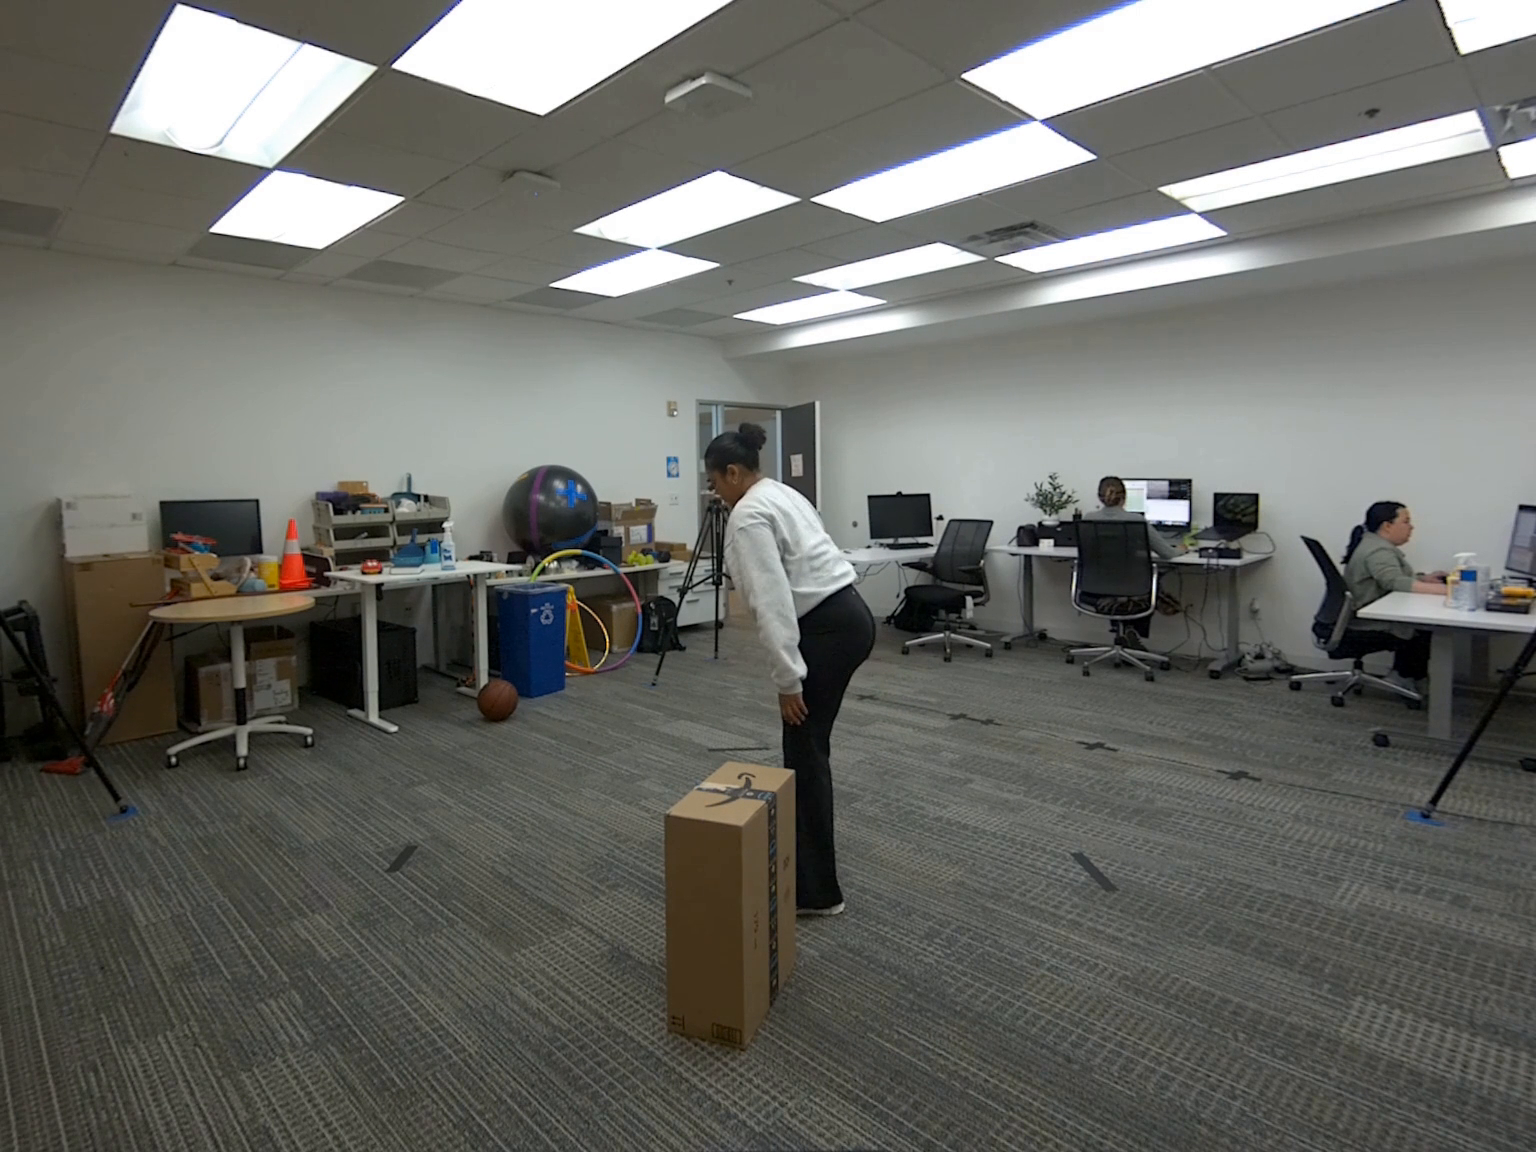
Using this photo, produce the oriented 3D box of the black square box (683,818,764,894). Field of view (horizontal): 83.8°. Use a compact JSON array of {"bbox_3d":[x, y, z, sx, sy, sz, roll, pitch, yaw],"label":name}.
[{"bbox_3d":[-0.154,0.973,3.000,0.231,0.155,0.215,0,4,13],"label":"black square box"}]
